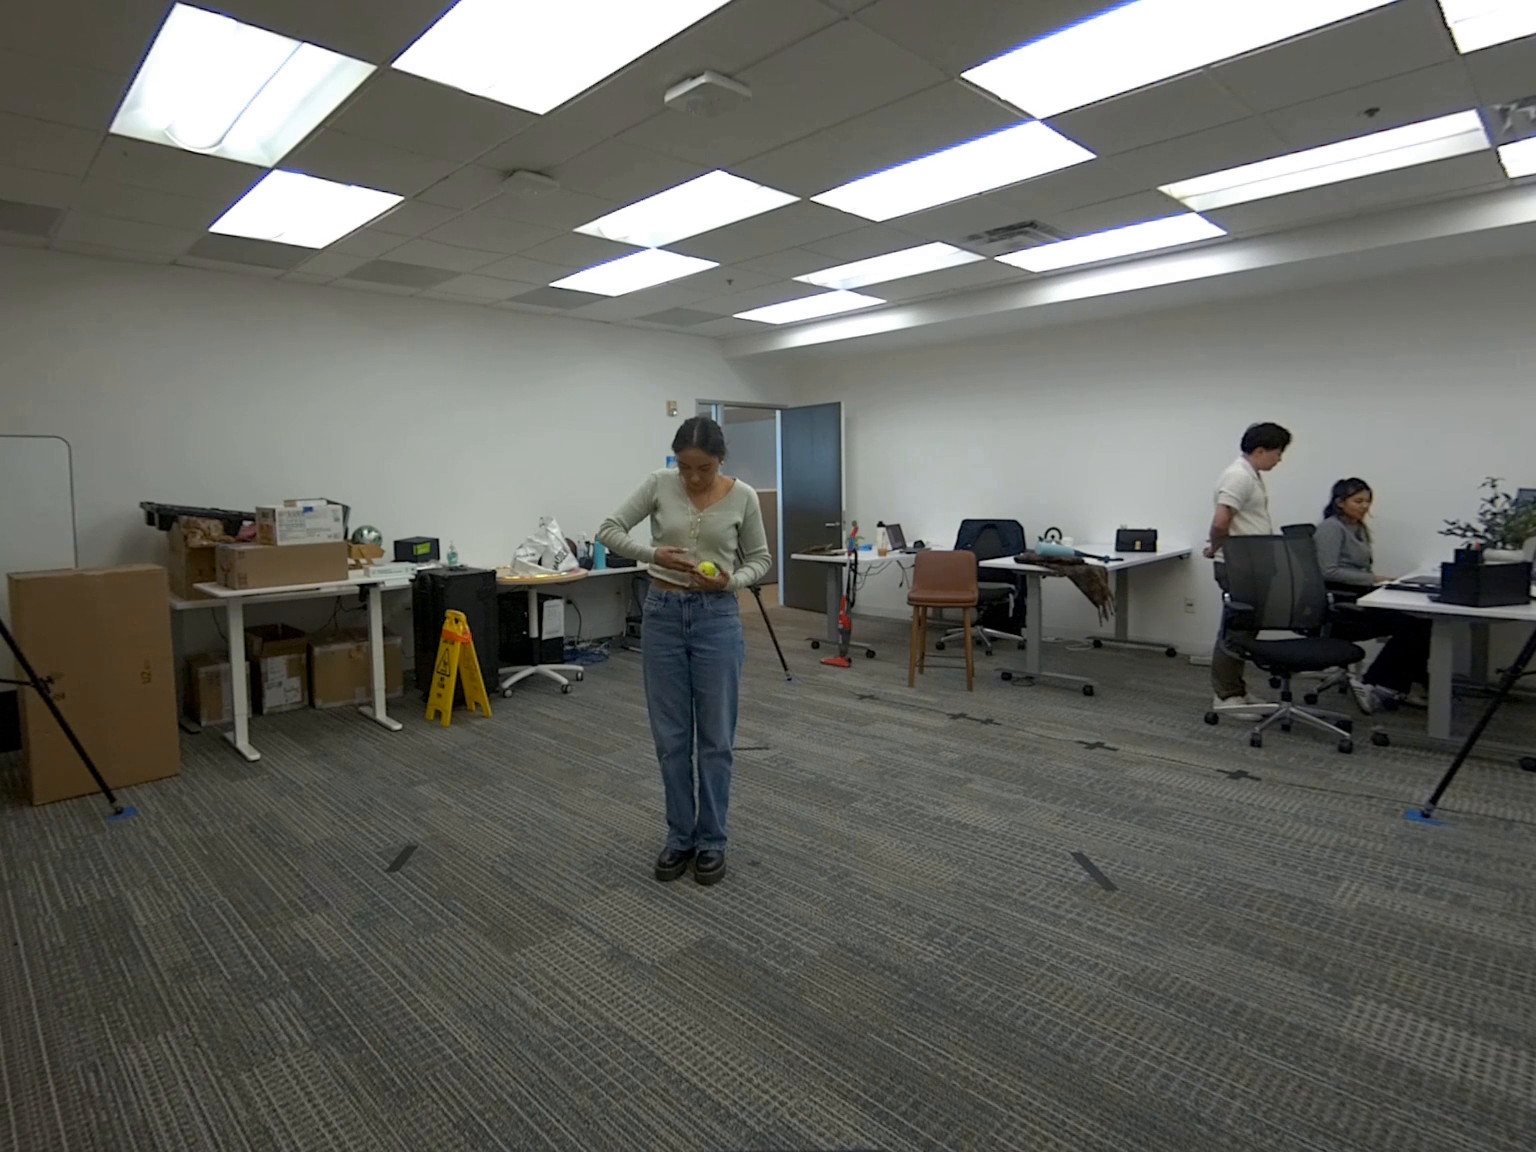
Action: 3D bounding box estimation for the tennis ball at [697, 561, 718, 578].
[{"bbox_3d":[-0.215,-0.023,2.914,0.066,0.066,0.067,-1,5,-2],"label":"tennis ball"}]
